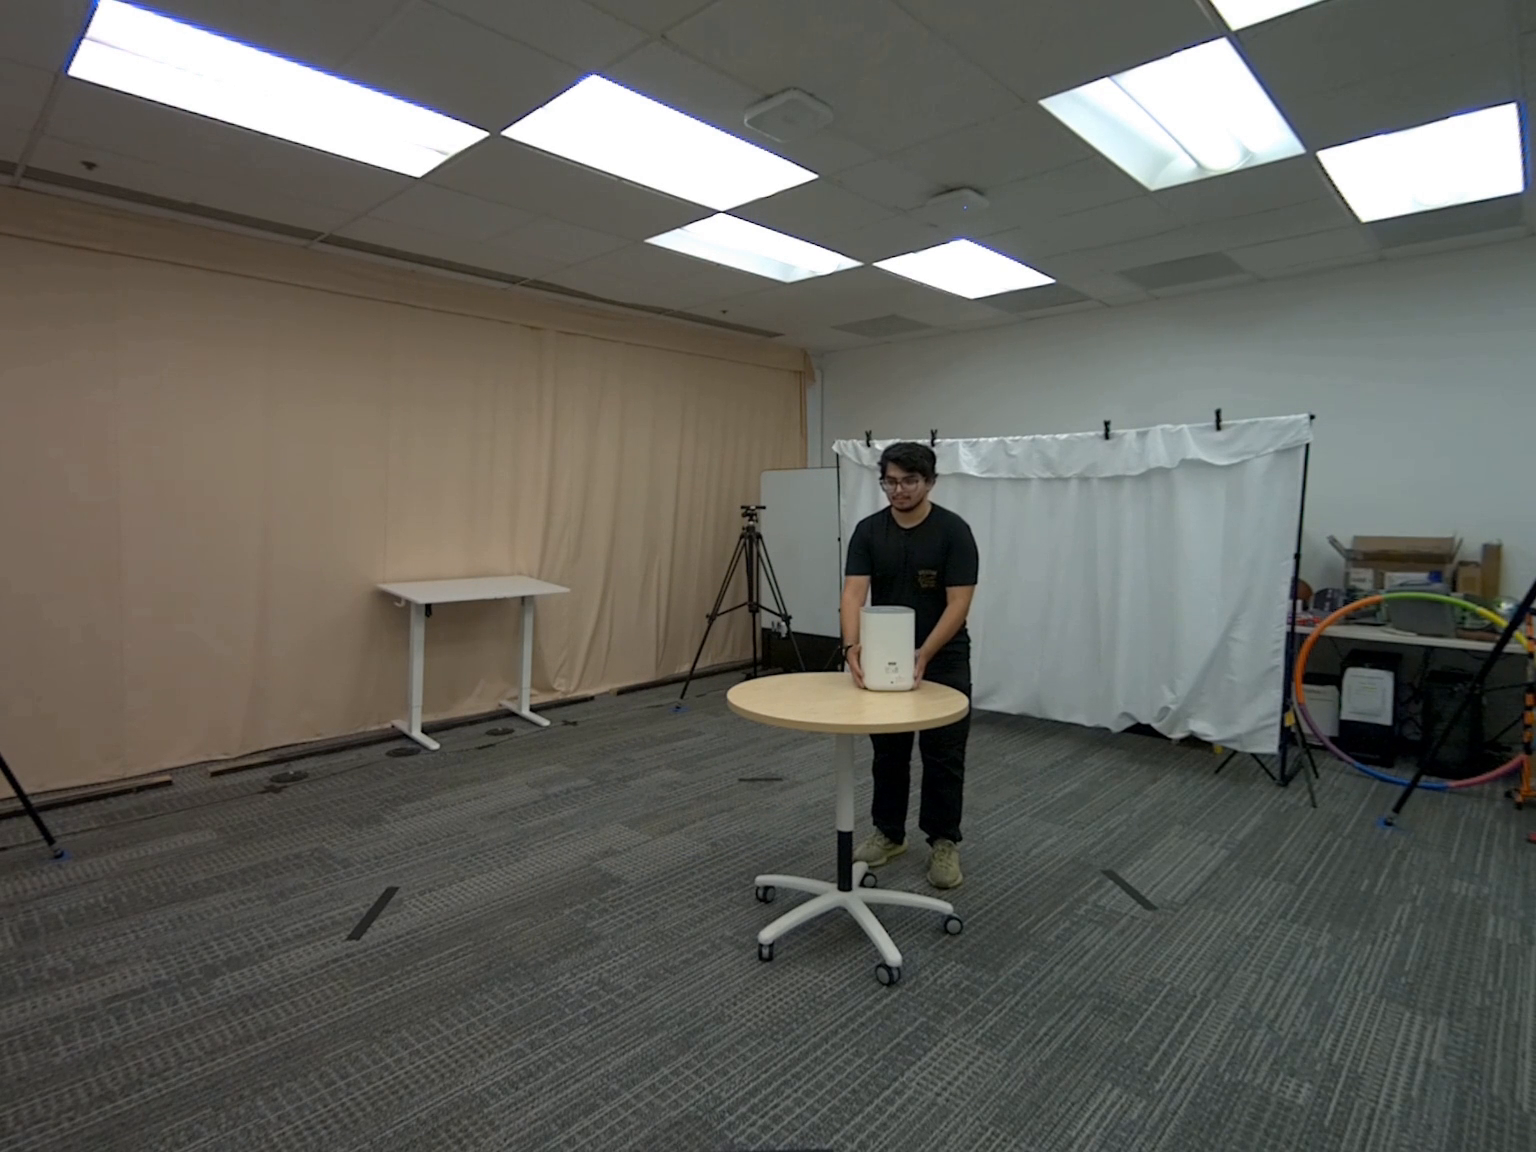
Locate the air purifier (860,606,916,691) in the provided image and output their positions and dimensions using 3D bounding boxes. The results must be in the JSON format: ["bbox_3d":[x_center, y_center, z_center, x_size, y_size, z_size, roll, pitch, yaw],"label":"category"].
[{"bbox_3d":[0.398,0.243,2.821,0.171,0.264,0.172,-1,5,0],"label":"air purifier"}]
